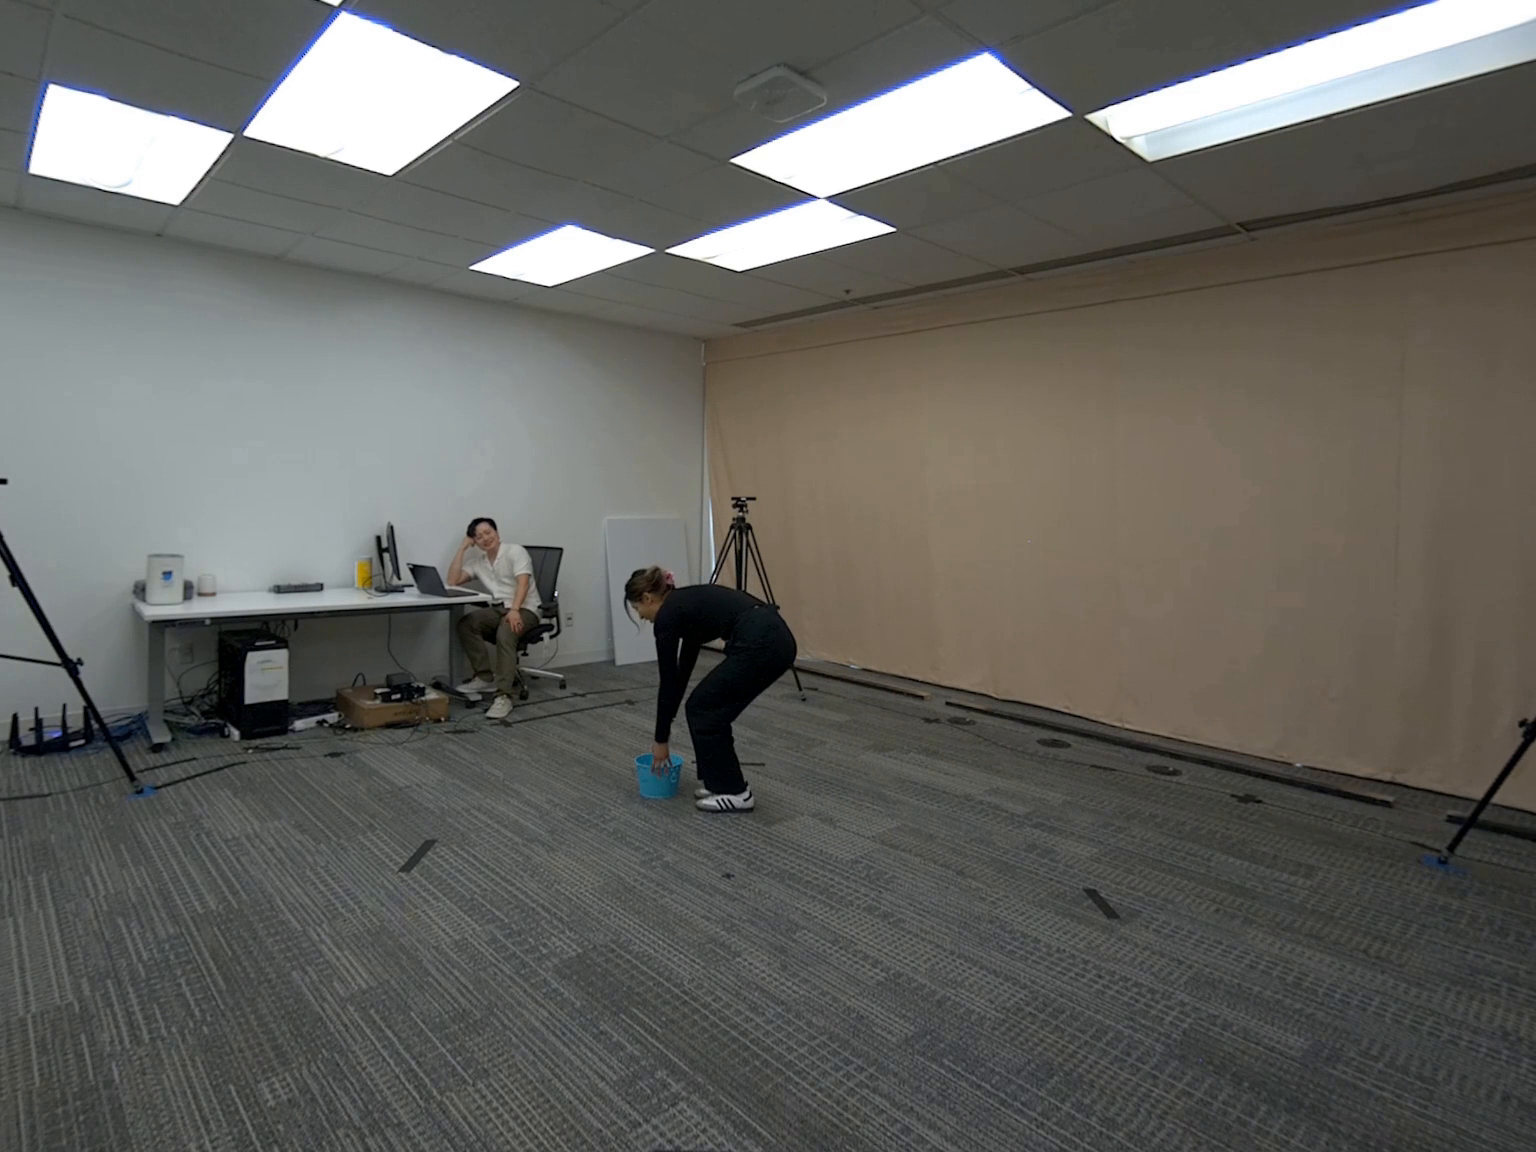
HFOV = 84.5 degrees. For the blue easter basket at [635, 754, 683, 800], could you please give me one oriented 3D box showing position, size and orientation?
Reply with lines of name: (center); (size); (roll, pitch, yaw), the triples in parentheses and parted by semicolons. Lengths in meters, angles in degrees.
blue easter basket: (-0.518, 0.935, 3.992); (0.243, 0.155, 0.244); (2, 4, -1)
